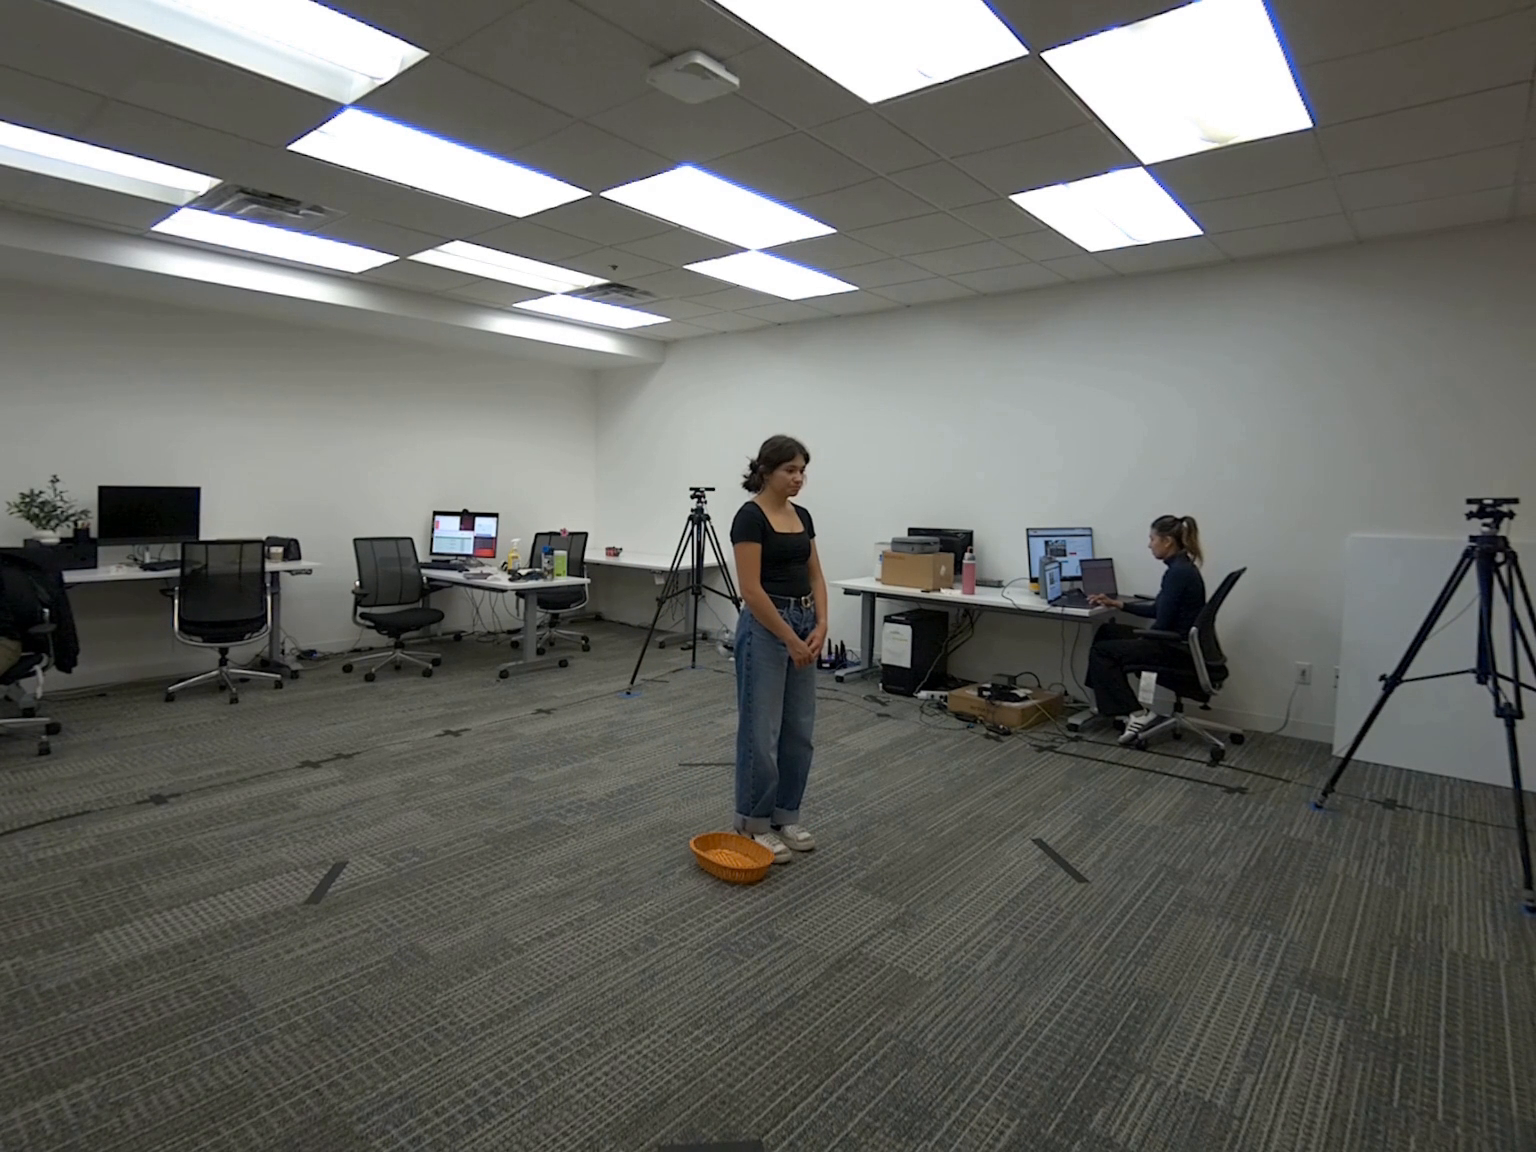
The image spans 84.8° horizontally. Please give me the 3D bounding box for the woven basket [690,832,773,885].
[{"bbox_3d":[-0.143,1.027,3.116,0.245,0.073,0.362,-1,5,-39],"label":"woven basket"}]
